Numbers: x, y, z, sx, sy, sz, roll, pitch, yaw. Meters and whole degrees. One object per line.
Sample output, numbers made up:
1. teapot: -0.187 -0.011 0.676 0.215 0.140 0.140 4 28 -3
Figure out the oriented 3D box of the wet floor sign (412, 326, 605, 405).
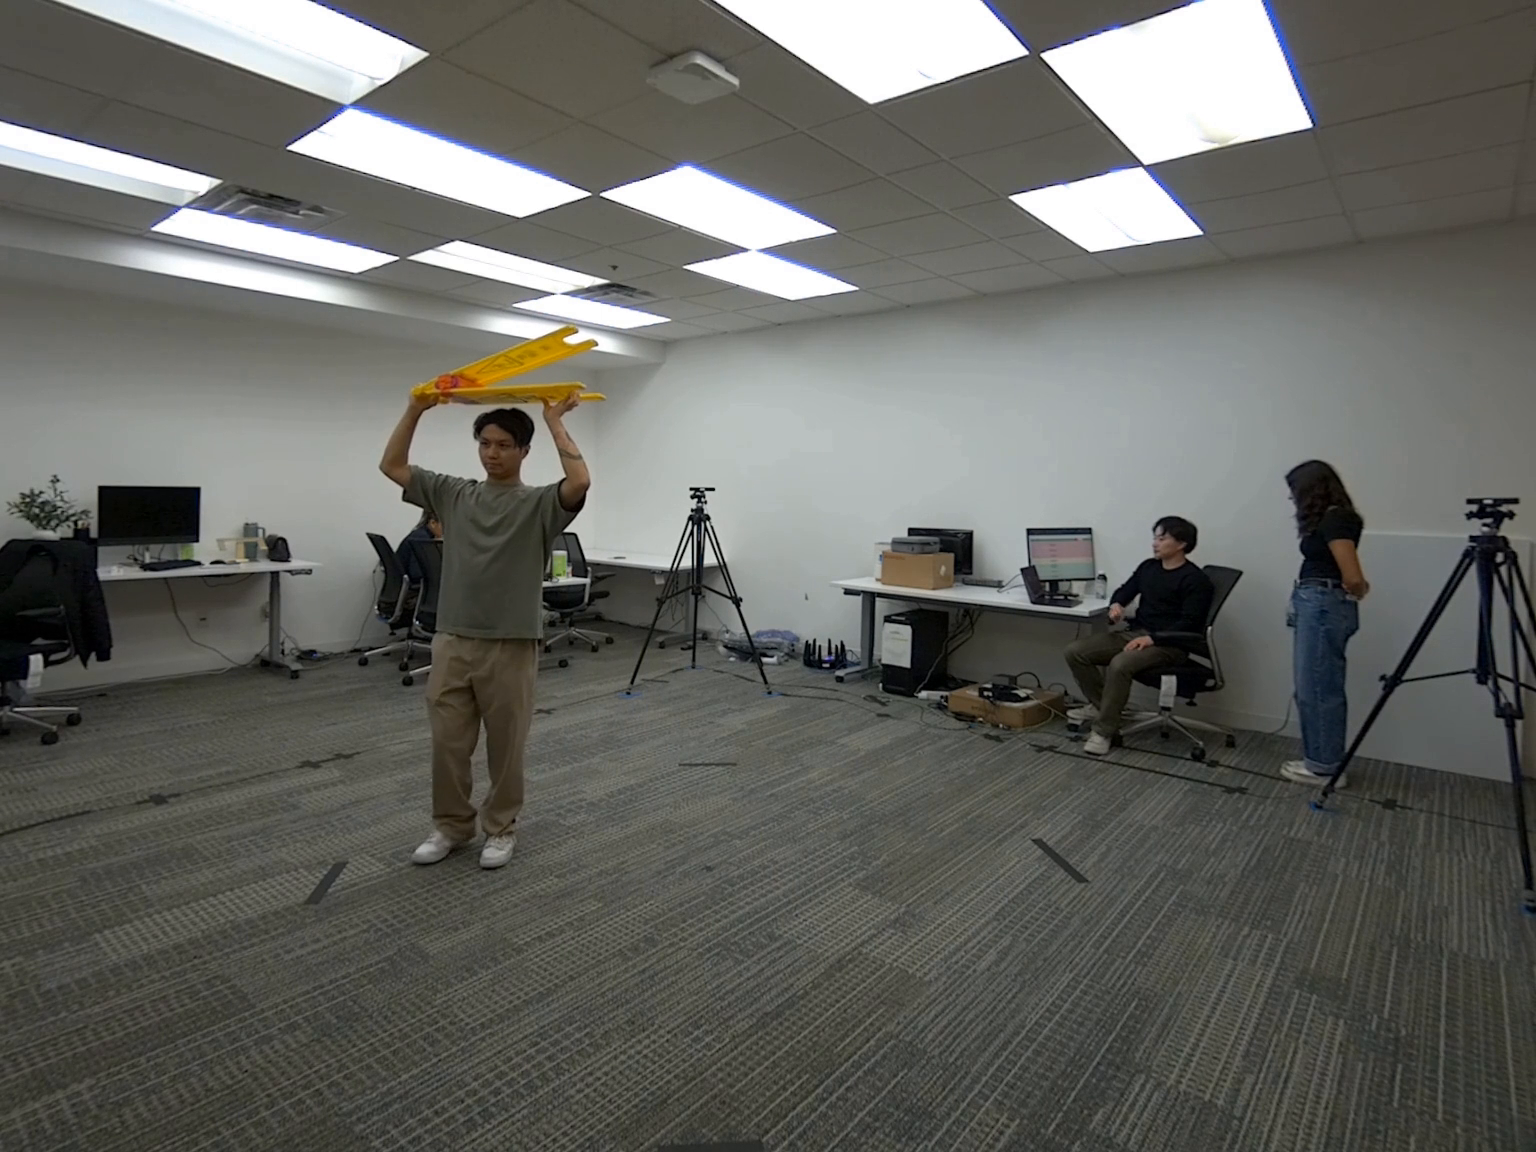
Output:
1. wet floor sign: -0.965 -0.706 3.062 0.654 0.290 0.279 -6 0 12
